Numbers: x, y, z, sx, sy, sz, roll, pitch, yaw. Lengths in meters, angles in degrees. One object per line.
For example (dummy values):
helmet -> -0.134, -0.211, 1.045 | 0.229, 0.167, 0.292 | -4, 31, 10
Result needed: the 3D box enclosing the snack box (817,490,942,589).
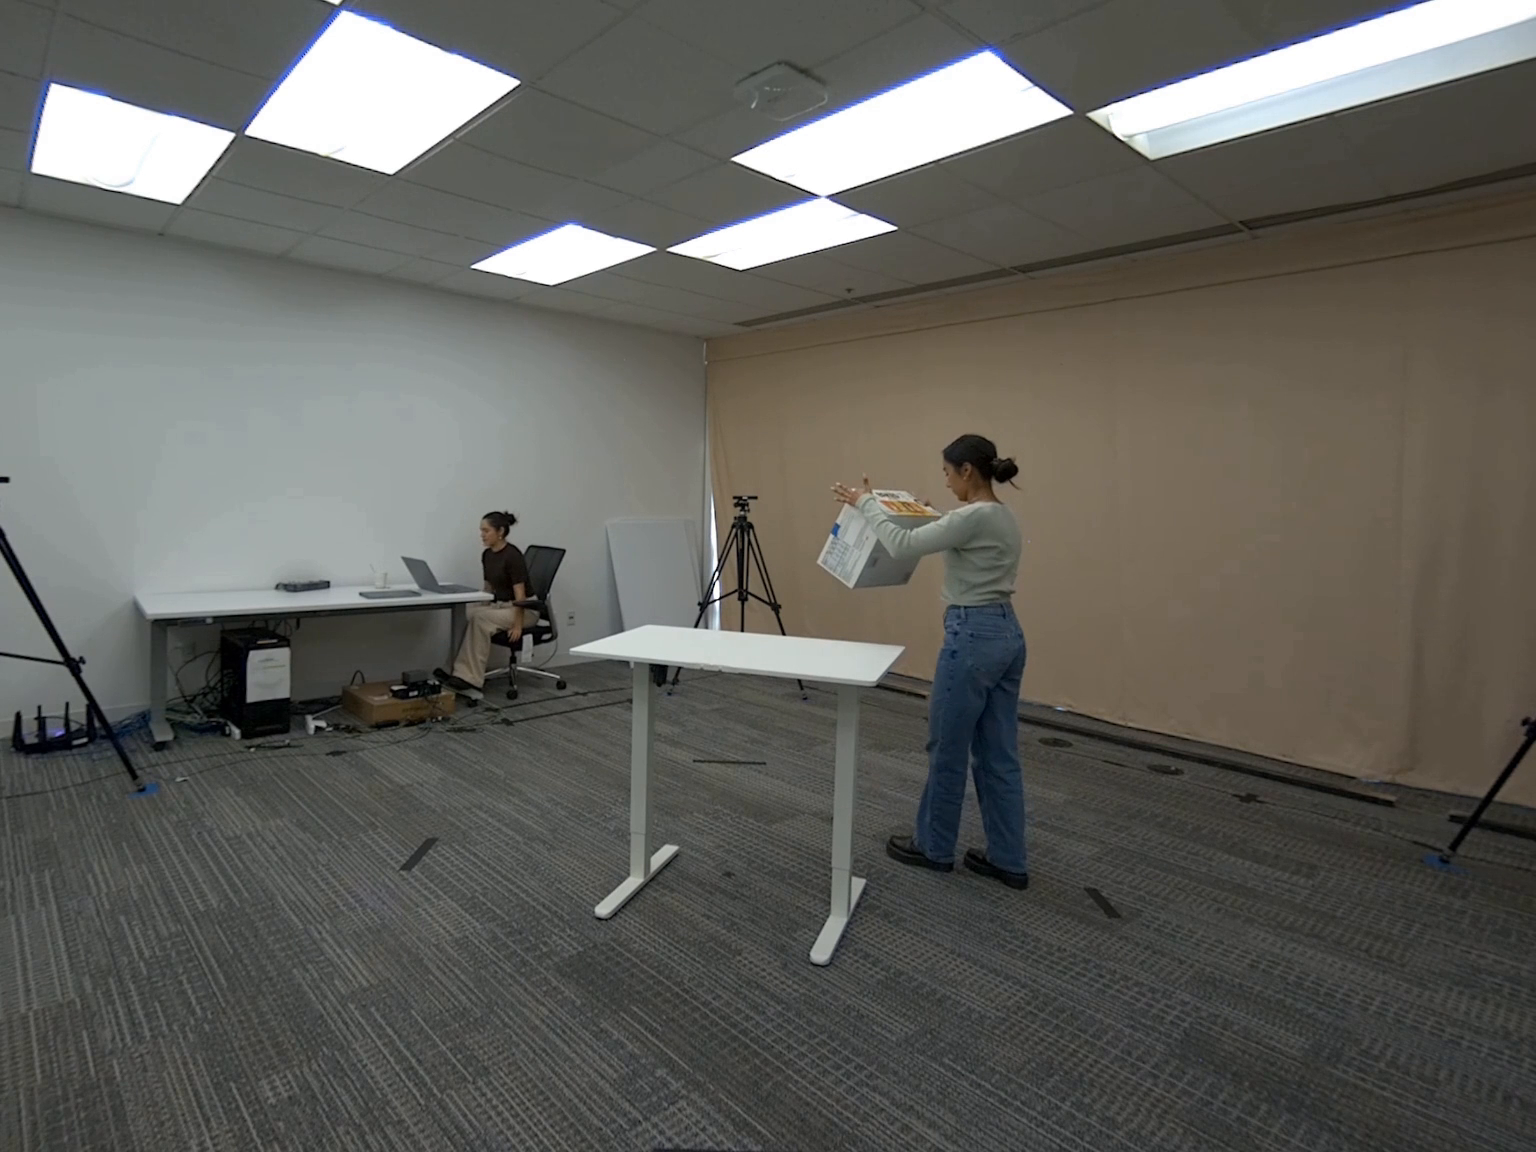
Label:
snack box -> 0.451, -0.149, 3.403 | 0.396, 0.338, 0.212 | -4, 34, -49
